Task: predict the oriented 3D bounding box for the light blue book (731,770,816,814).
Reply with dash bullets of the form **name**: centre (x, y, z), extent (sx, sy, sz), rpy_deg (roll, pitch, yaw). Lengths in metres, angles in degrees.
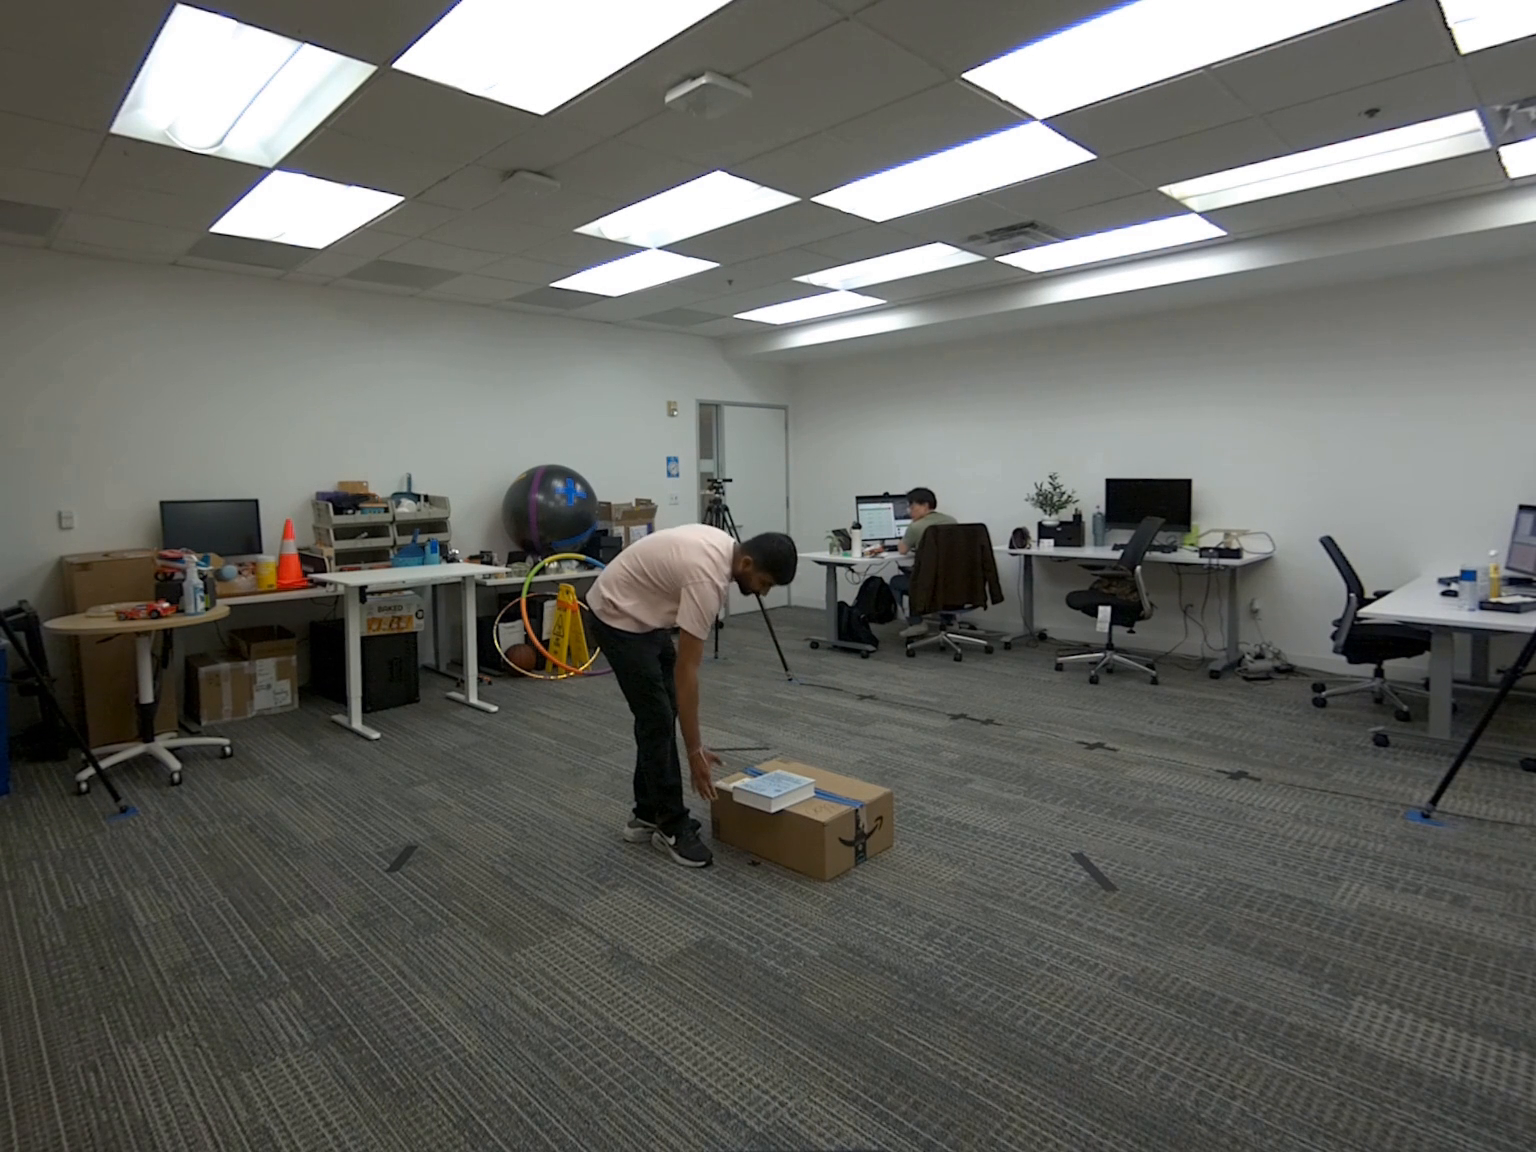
- **light blue book**: centre (0.024, 0.792, 3.169), extent (0.197, 0.059, 0.254), rpy_deg (5, 7, 39)
